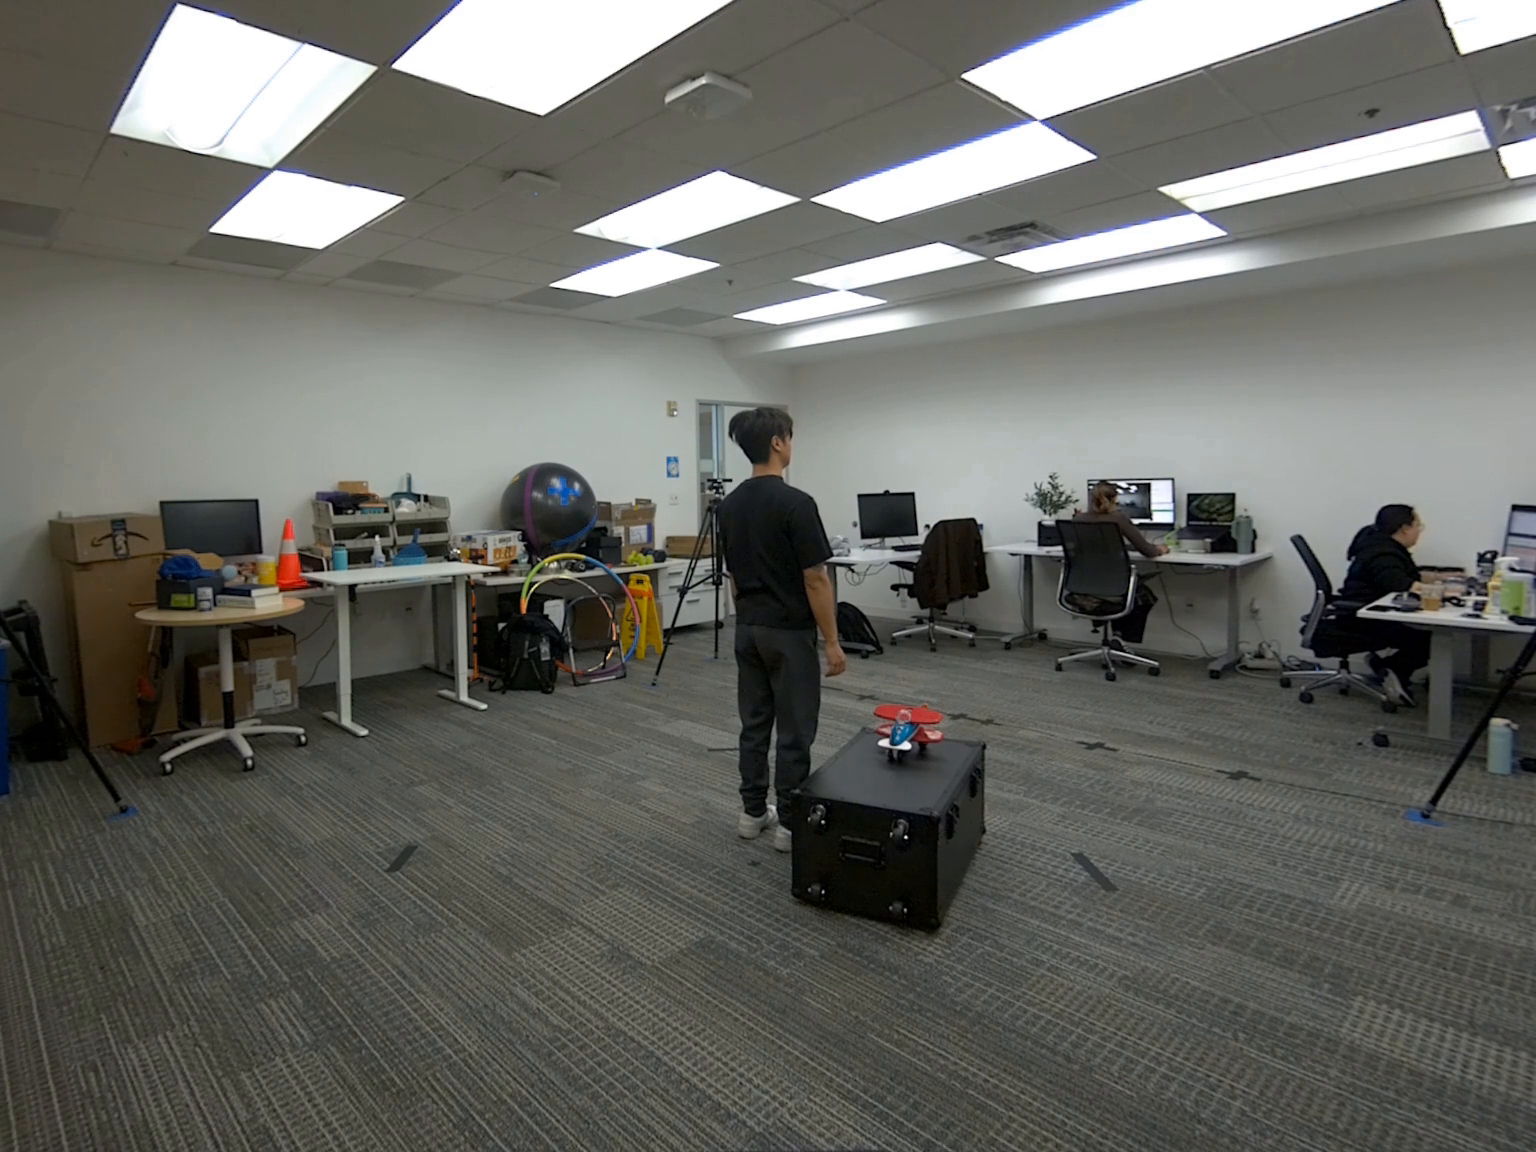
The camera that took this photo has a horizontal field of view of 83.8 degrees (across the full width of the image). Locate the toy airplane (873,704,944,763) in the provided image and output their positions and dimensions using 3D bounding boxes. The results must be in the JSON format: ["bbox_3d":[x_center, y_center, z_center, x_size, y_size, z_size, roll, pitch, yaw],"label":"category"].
[{"bbox_3d":[0.524,0.573,3.150,0.252,0.156,0.259,-1,4,2],"label":"toy airplane"}]
